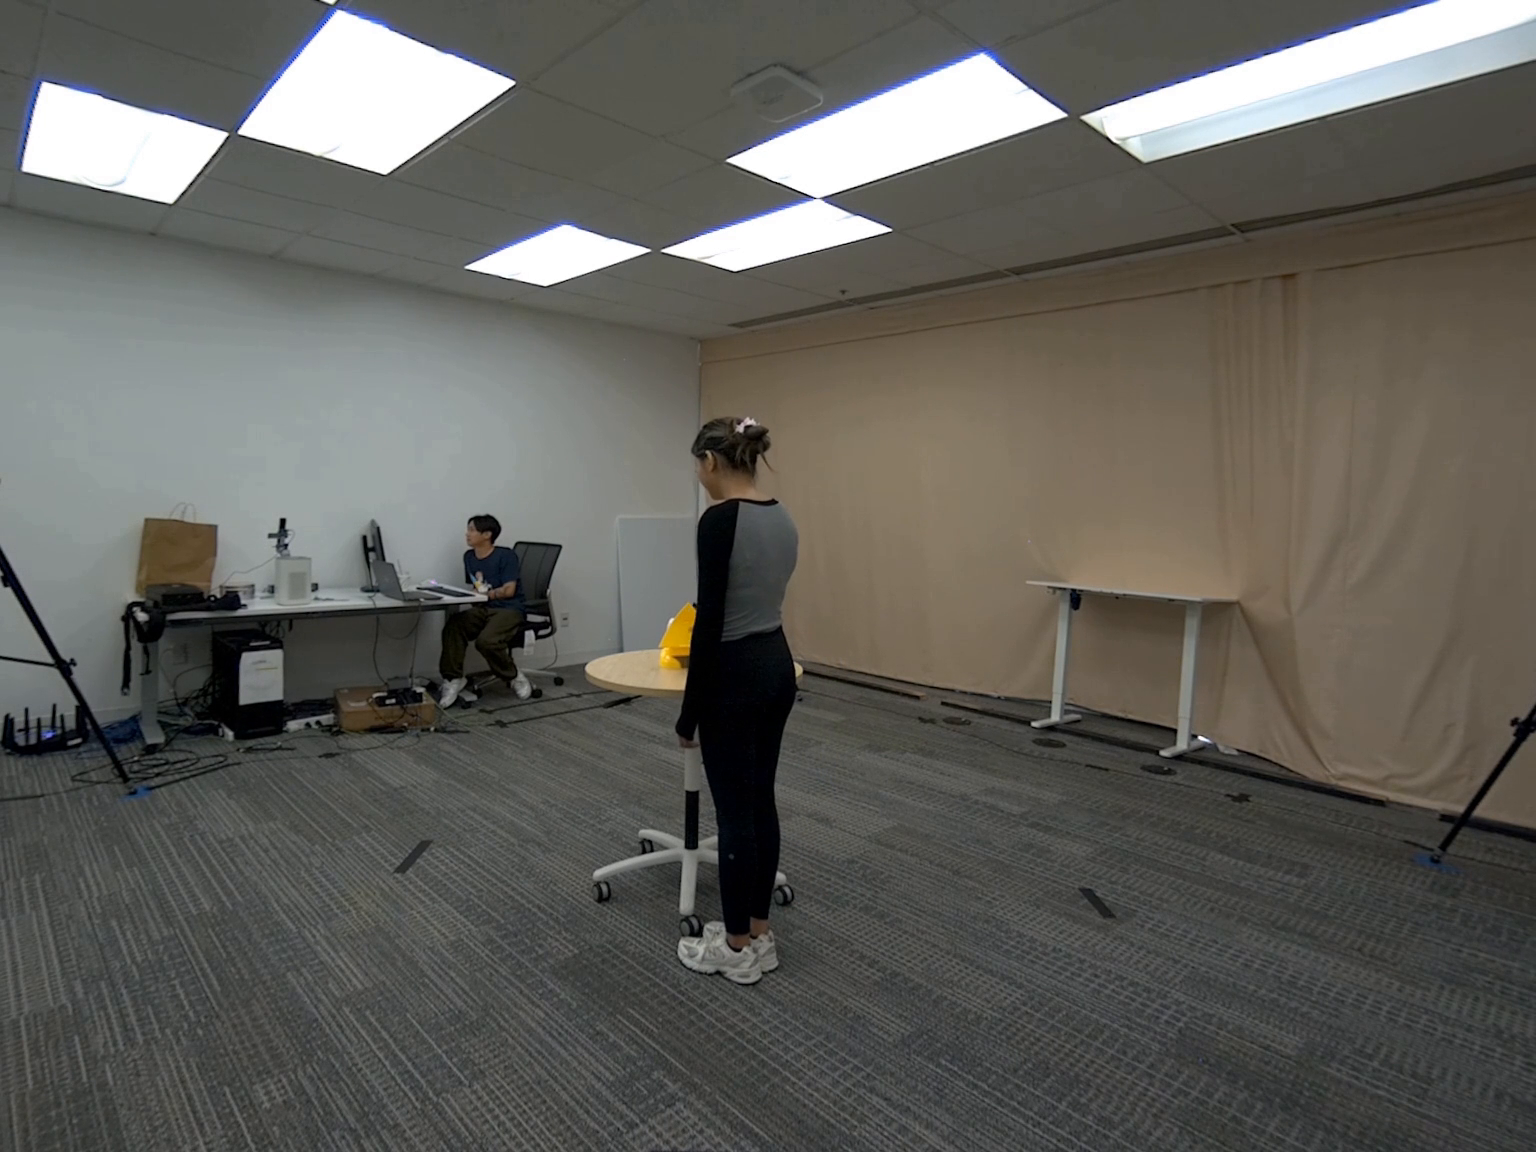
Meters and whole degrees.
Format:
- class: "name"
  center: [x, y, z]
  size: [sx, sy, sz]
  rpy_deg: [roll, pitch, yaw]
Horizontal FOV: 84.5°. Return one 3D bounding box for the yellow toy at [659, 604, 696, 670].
- class: "yellow toy"
  center: [-0.297, 0.205, 3.012]
  size: [0.204, 0.230, 0.194]
  rpy_deg: [1, 4, -6]
